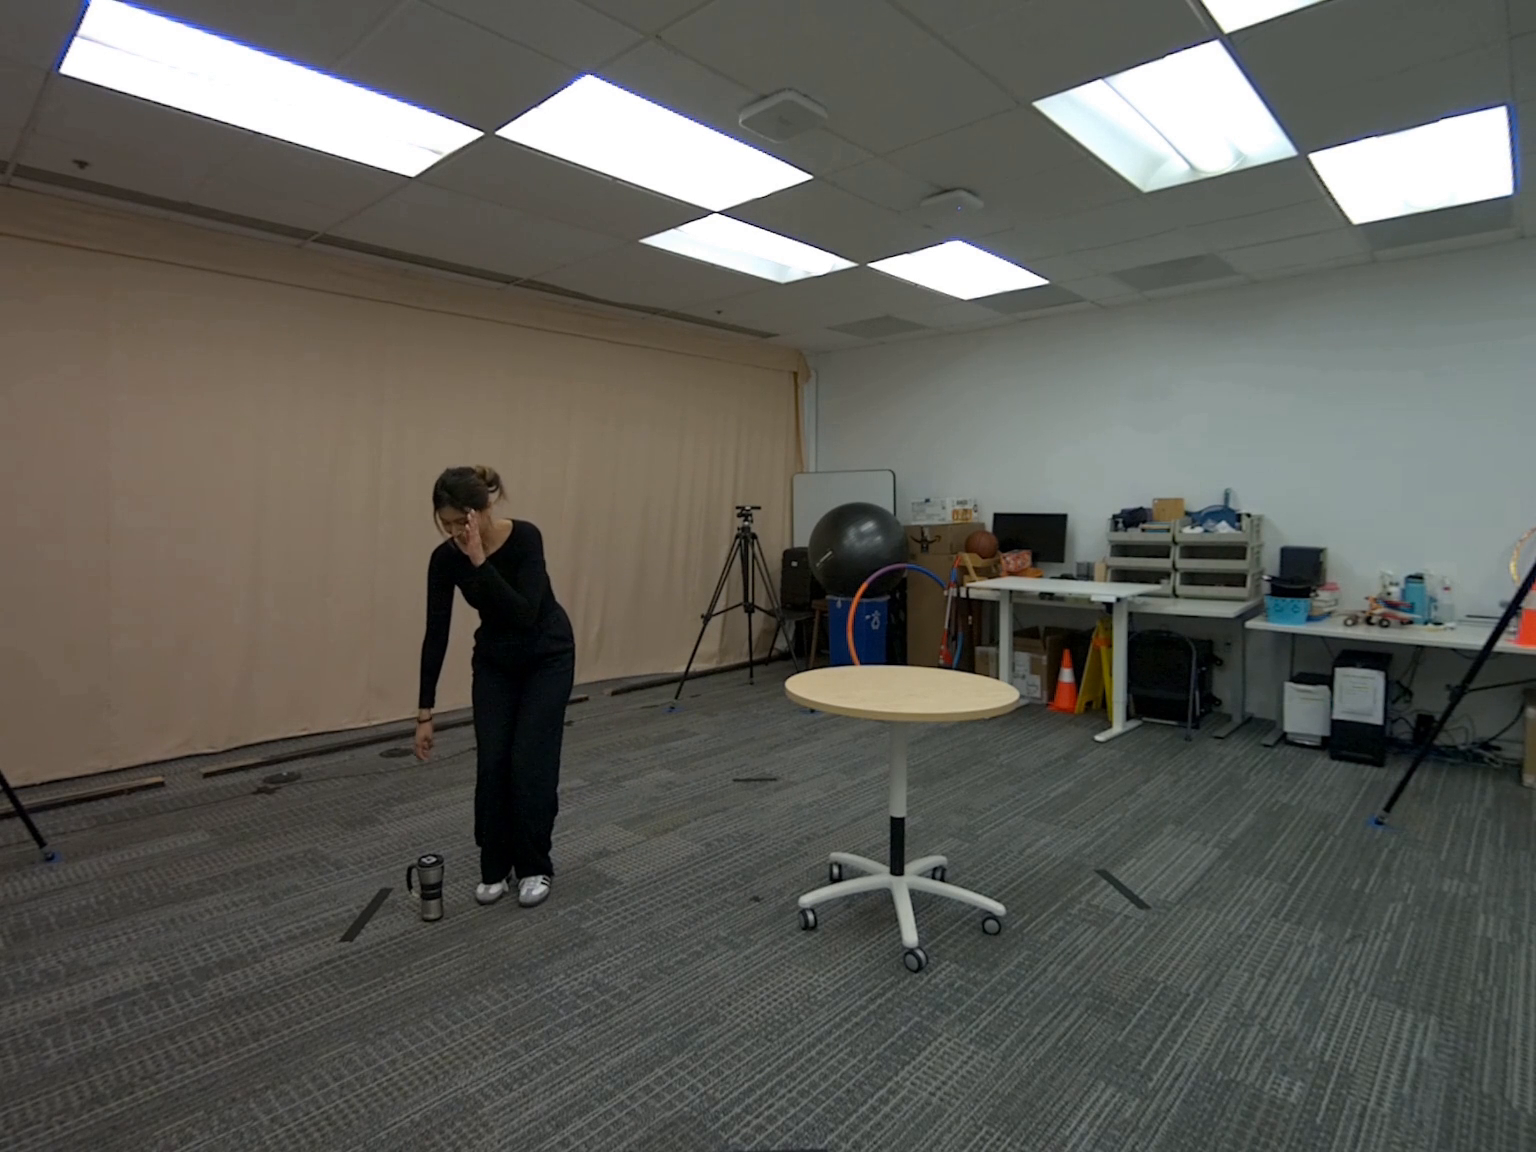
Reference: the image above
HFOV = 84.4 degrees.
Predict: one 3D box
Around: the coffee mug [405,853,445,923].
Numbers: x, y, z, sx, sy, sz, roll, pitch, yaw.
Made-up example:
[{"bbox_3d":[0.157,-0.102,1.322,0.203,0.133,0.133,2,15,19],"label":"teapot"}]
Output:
[{"bbox_3d":[-1.171,1.068,2.873,0.123,0.202,0.087,2,8,11],"label":"coffee mug"}]
